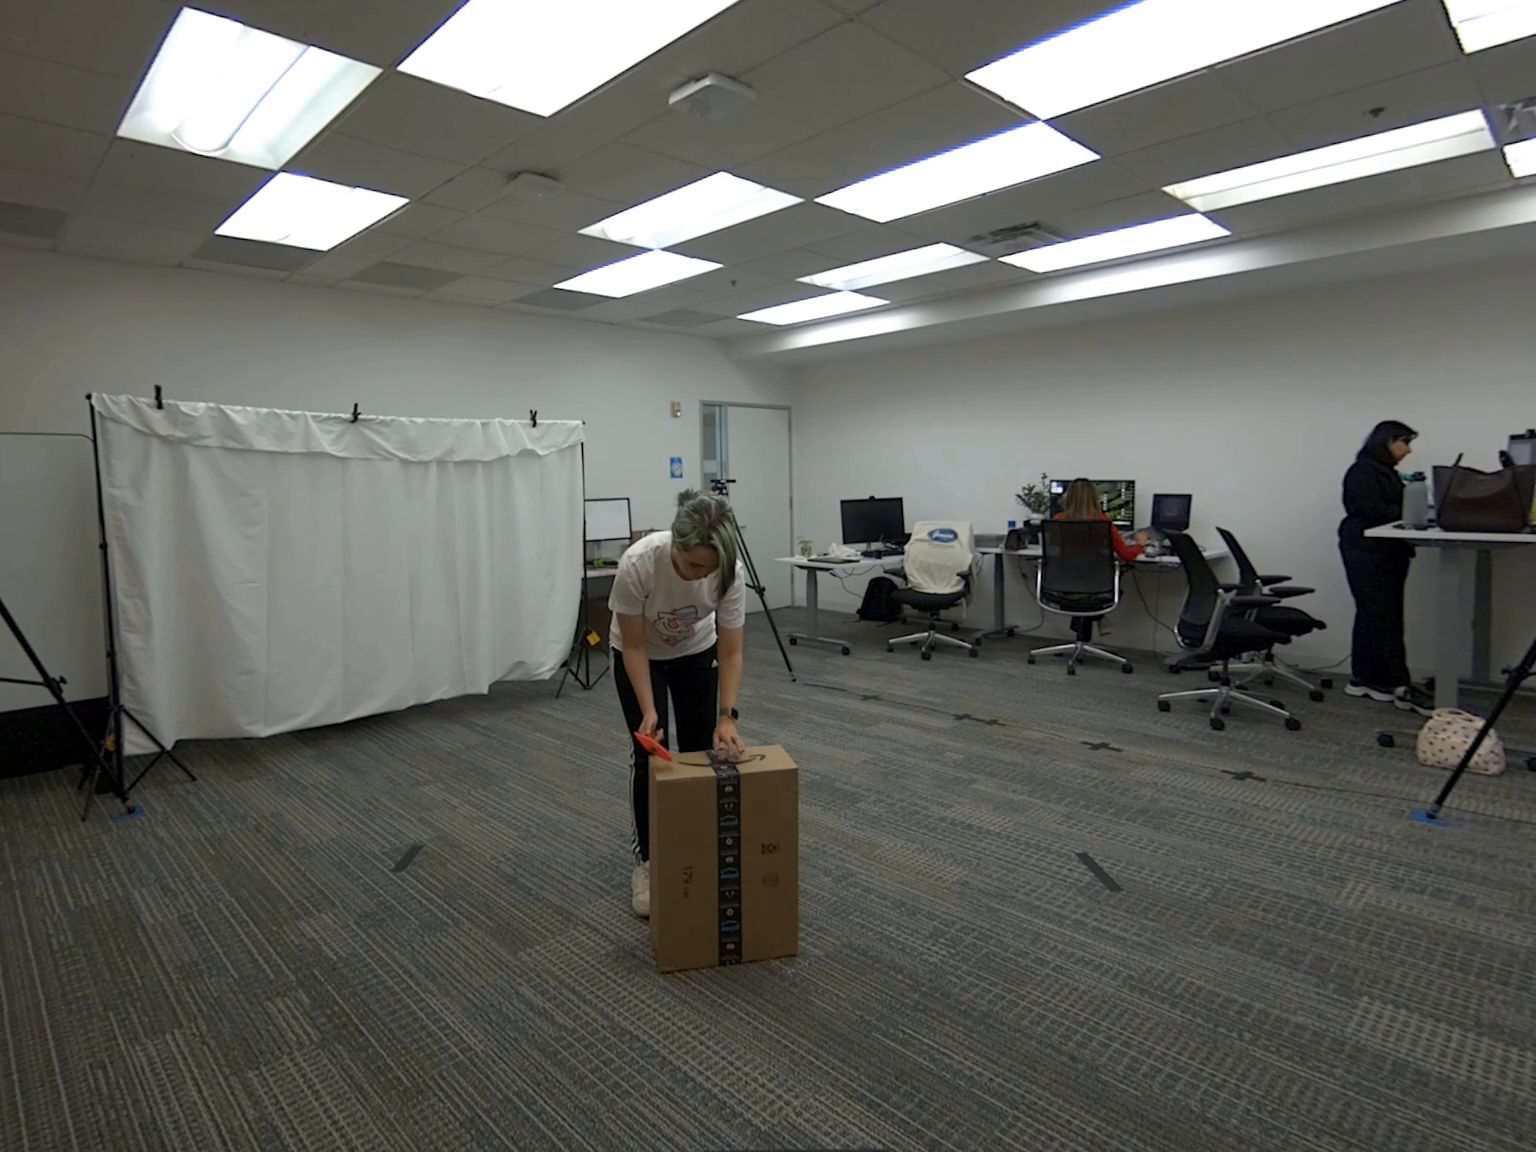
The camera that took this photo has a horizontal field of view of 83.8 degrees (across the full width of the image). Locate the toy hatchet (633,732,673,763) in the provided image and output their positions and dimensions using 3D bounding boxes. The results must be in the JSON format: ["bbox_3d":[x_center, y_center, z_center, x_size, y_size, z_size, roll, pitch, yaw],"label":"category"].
[{"bbox_3d":[-0.321,0.509,2.558,0.133,0.029,0.265,35,-1,11],"label":"toy hatchet"}]
